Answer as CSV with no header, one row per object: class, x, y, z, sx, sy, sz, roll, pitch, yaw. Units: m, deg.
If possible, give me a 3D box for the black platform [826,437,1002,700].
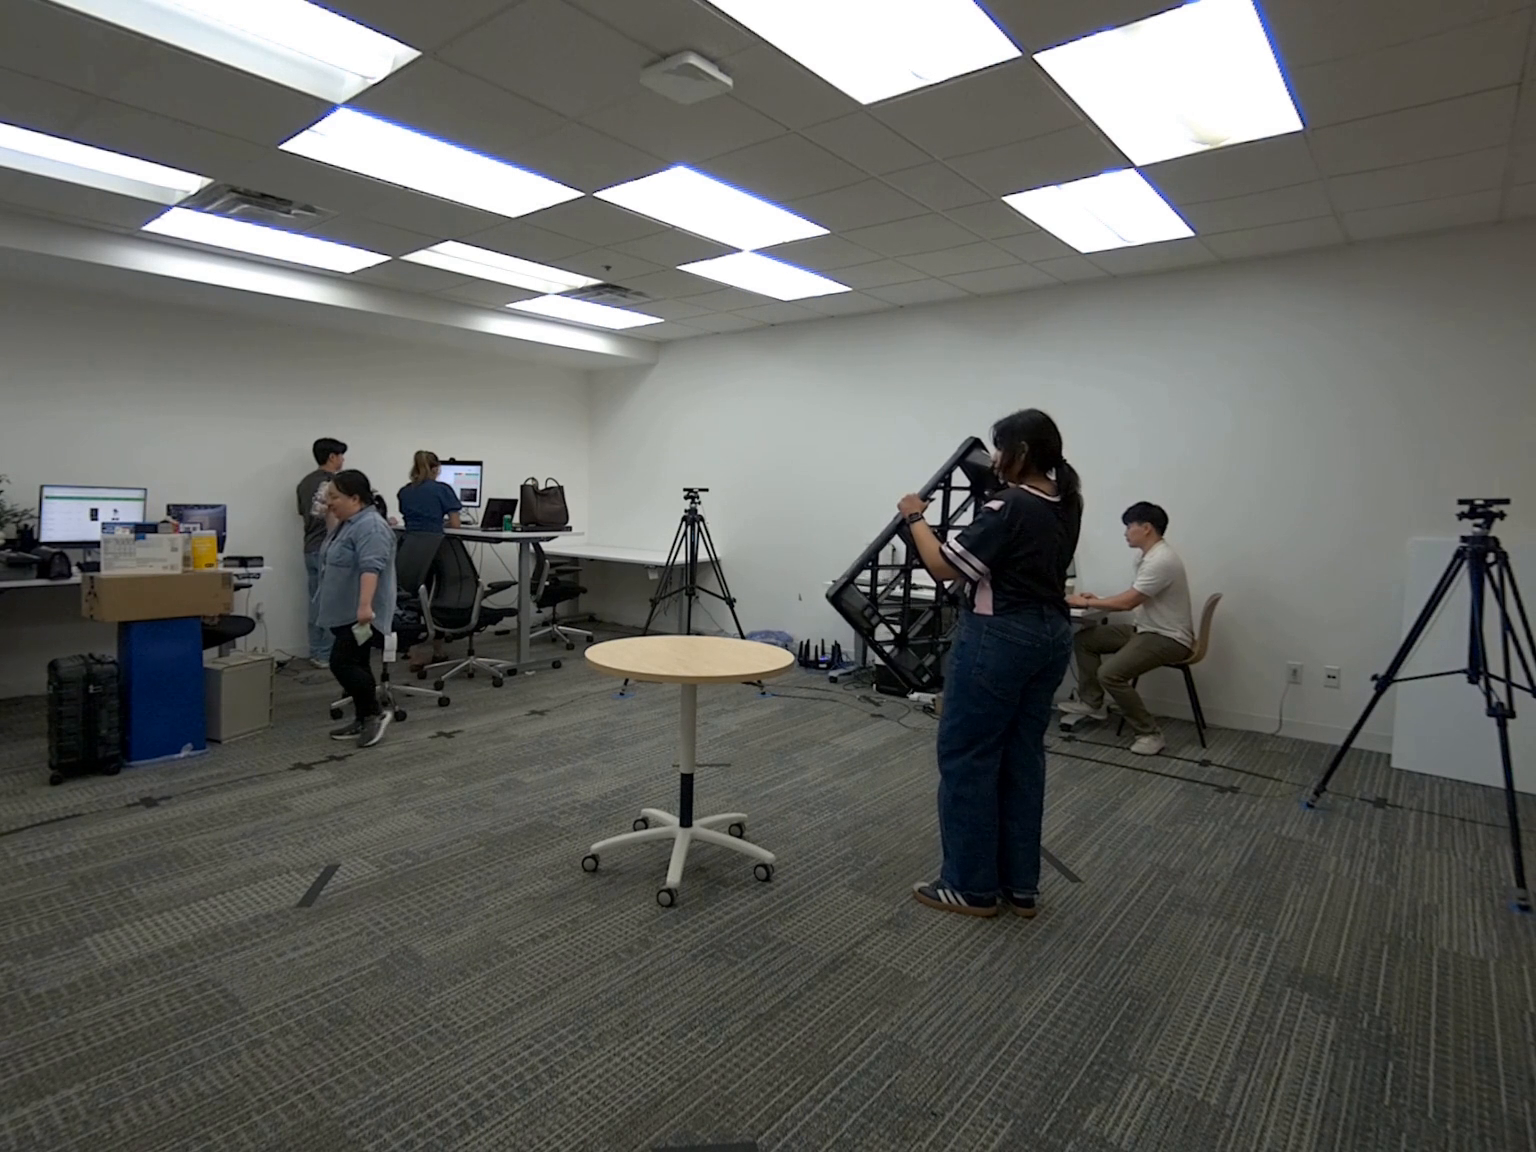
black platform,0.655,-0.026,3.115,0.583,0.805,0.149,46,-6,-30
